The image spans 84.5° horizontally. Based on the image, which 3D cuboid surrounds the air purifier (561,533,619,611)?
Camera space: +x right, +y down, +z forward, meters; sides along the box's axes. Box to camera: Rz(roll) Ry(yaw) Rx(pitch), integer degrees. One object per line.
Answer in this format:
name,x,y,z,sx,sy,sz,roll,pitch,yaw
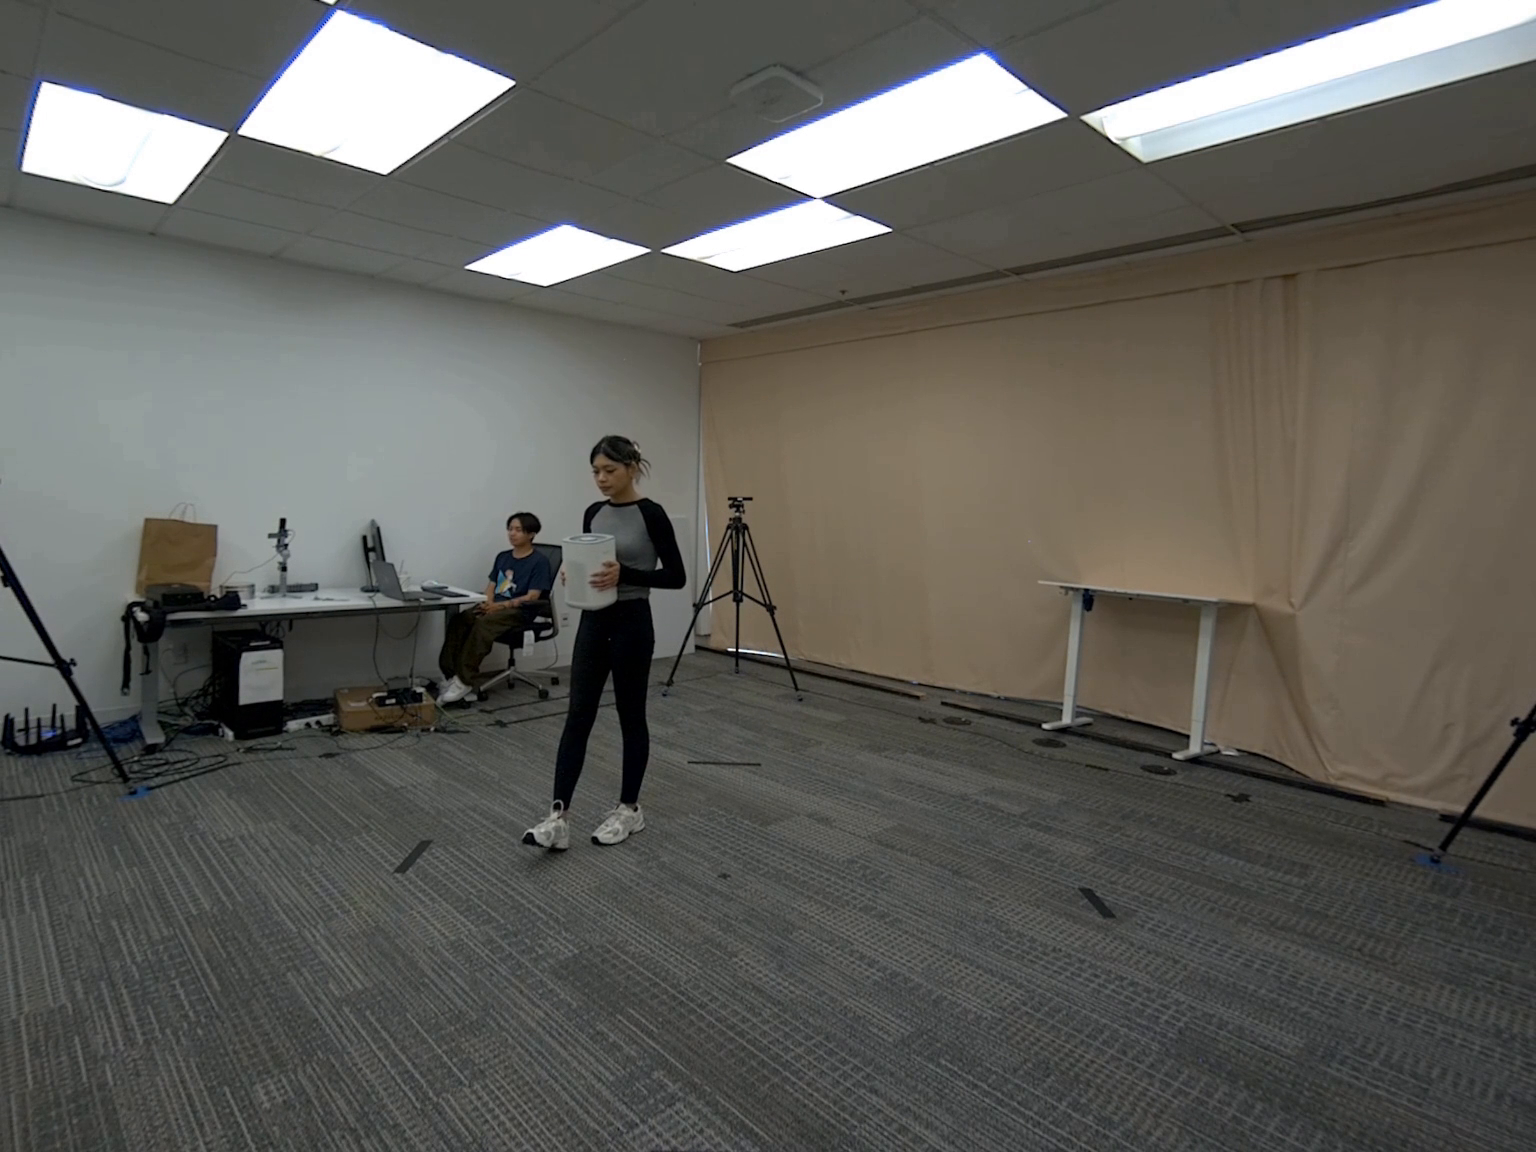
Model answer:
air purifier,-0.706,-0.016,3.216,0.175,0.263,0.169,4,12,25
